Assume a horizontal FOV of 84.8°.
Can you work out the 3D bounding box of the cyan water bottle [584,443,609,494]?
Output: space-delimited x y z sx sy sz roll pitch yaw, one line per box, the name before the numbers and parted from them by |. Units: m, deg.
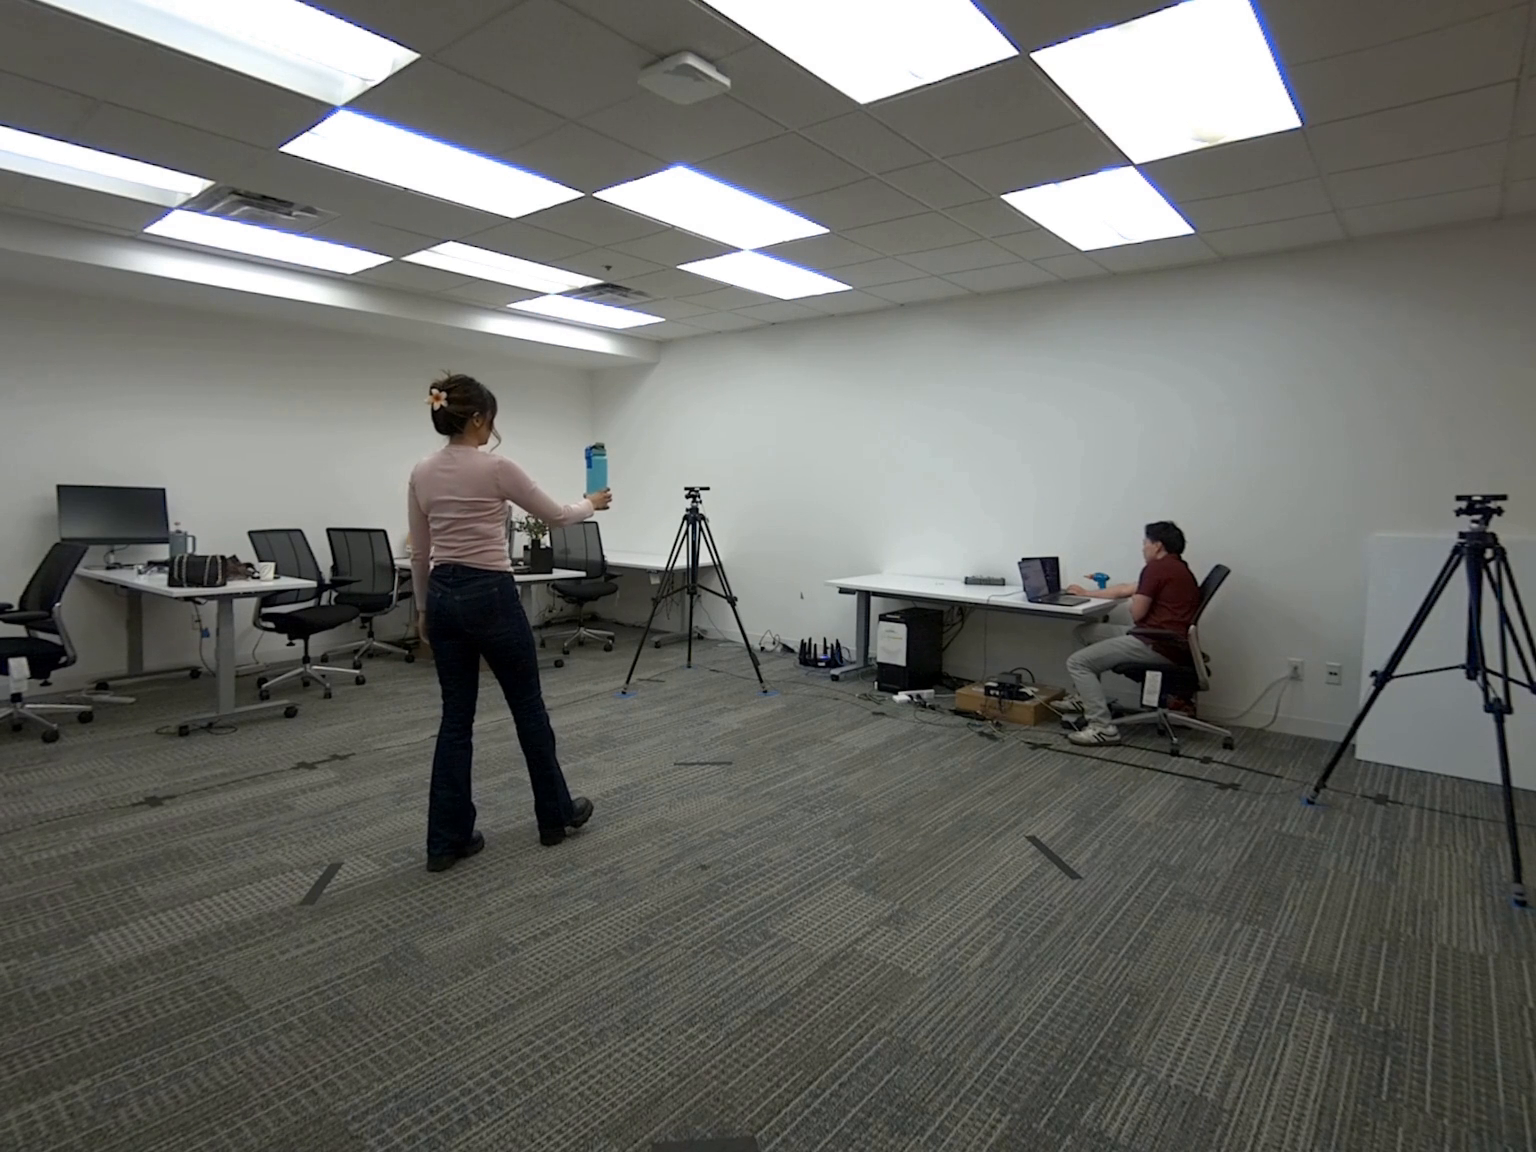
cyan water bottle | -0.736 -0.426 3.574 0.092 0.281 0.093 1 7 -2
